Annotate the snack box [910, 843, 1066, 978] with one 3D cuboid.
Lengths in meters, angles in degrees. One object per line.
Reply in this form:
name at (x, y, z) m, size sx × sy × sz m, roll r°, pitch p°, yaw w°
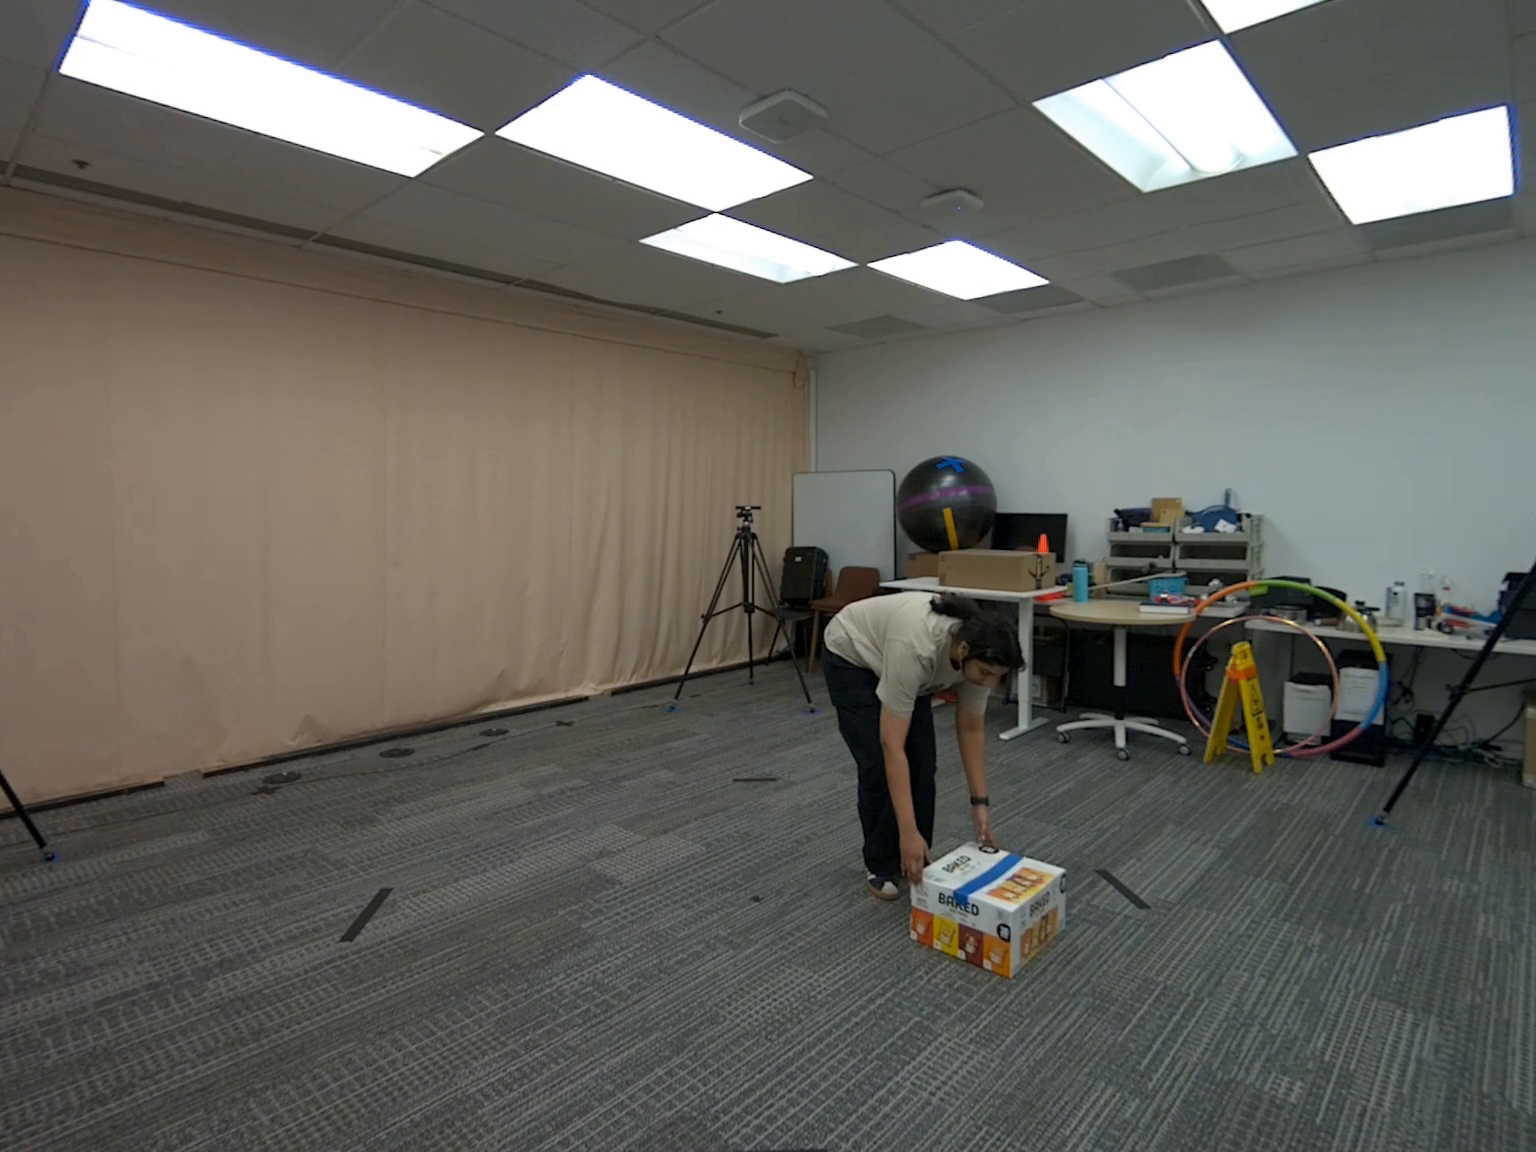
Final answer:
snack box at (0.719, 1.063, 2.728) m, size 0.352 × 0.205 × 0.393 m, roll 4°, pitch 6°, yaw 42°
